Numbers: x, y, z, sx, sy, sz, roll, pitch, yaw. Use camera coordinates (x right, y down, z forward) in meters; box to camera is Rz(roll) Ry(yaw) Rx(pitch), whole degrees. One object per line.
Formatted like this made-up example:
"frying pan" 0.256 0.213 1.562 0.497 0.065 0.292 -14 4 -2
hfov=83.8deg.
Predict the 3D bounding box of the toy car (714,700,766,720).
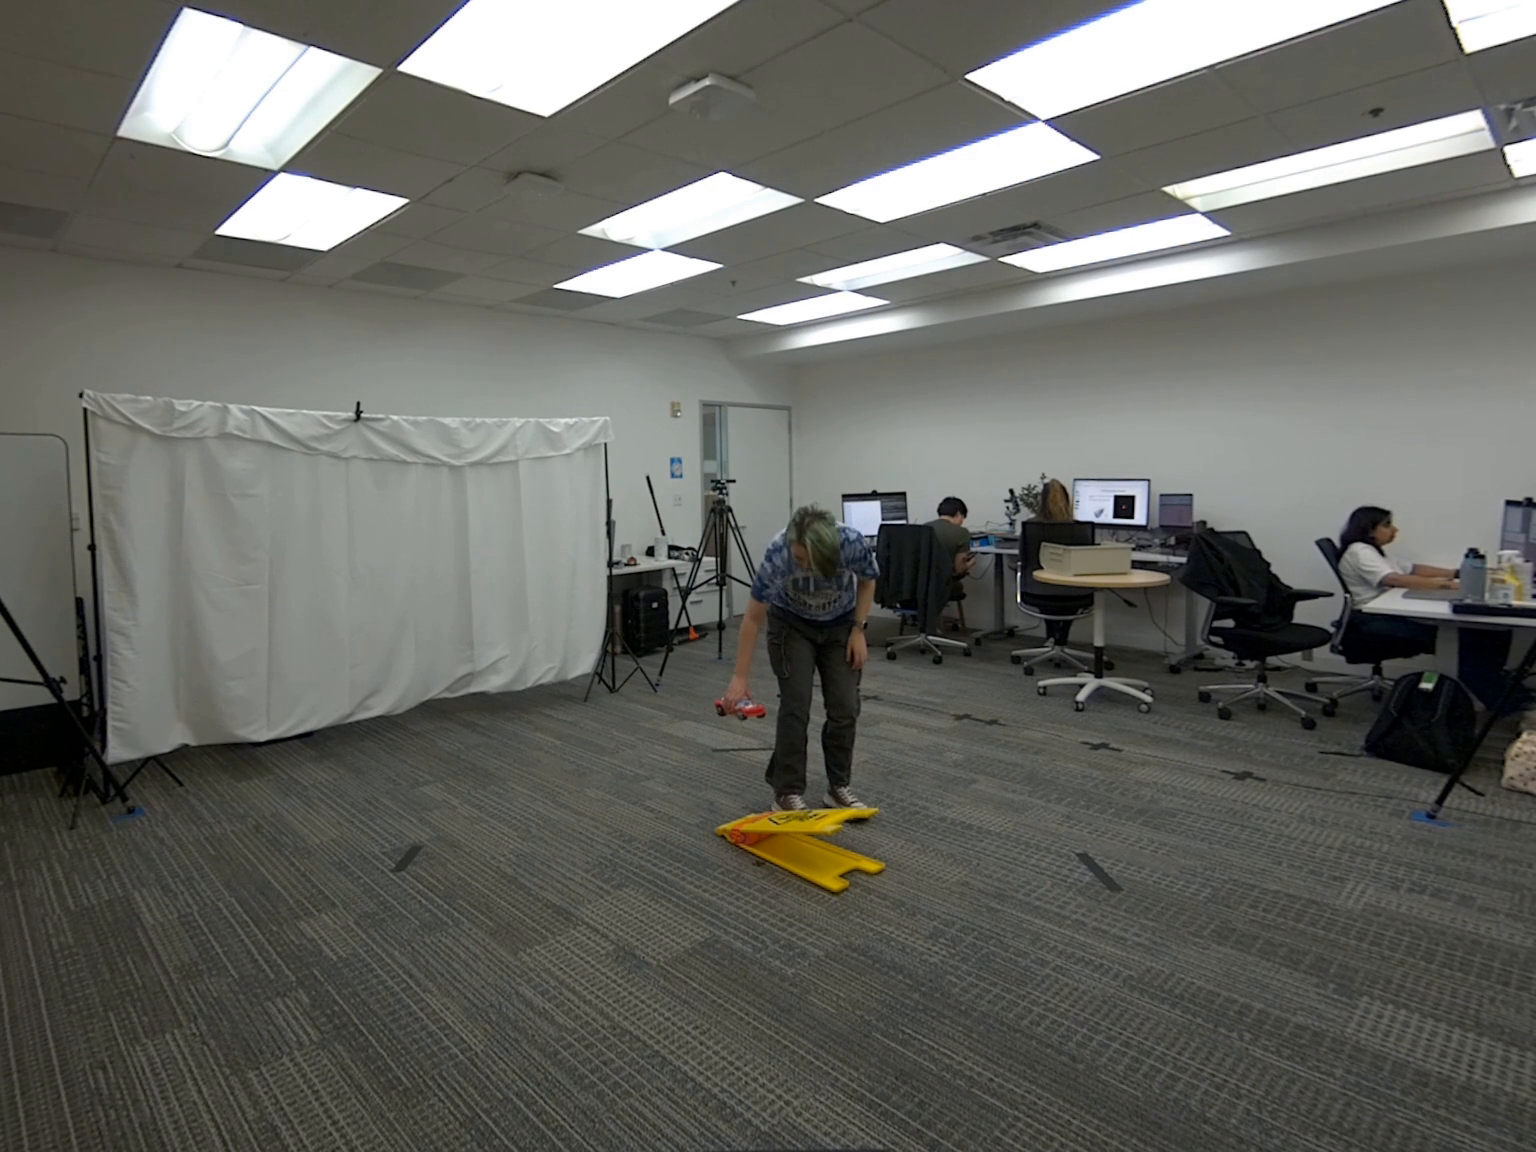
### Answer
"toy car" -0.120 0.541 3.427 0.127 0.083 0.263 -1 9 -34
